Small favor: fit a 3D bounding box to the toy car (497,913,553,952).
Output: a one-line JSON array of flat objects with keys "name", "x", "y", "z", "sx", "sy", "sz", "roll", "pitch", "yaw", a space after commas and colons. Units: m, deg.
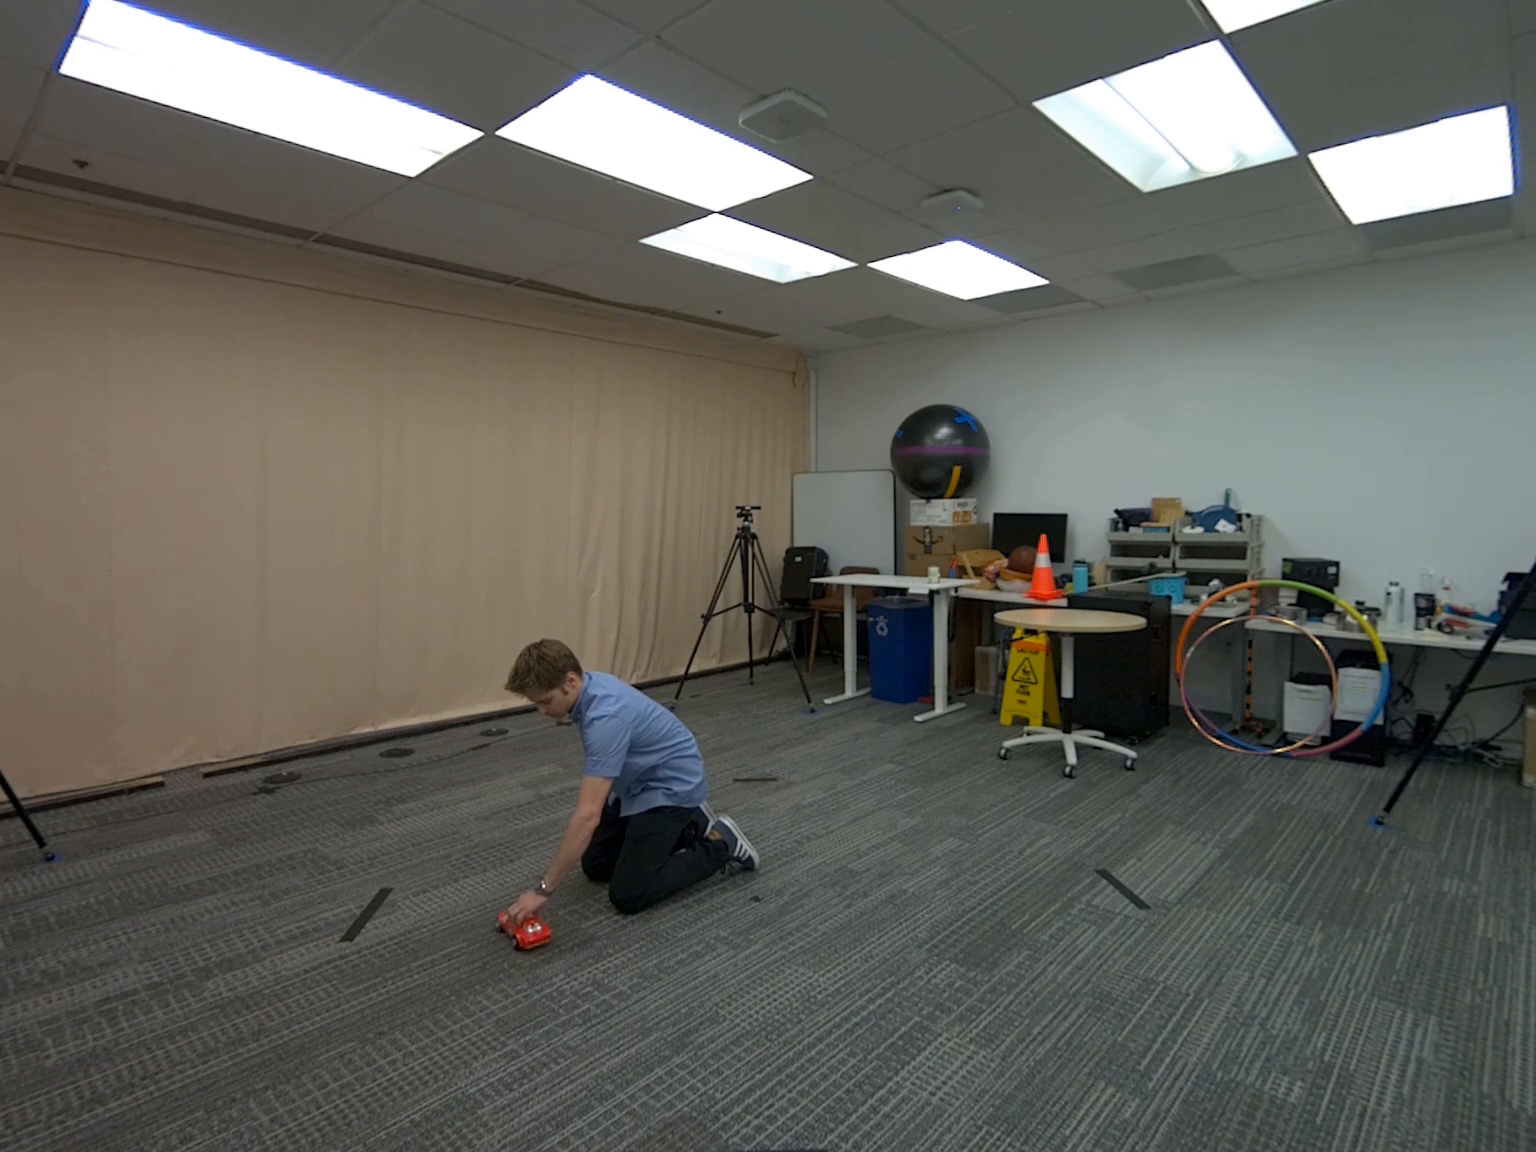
[{"name": "toy car", "x": -0.789, "y": 1.145, "z": 2.712, "sx": 0.126, "sy": 0.083, "sz": 0.261, "roll": -5, "pitch": -3, "yaw": -38}]
